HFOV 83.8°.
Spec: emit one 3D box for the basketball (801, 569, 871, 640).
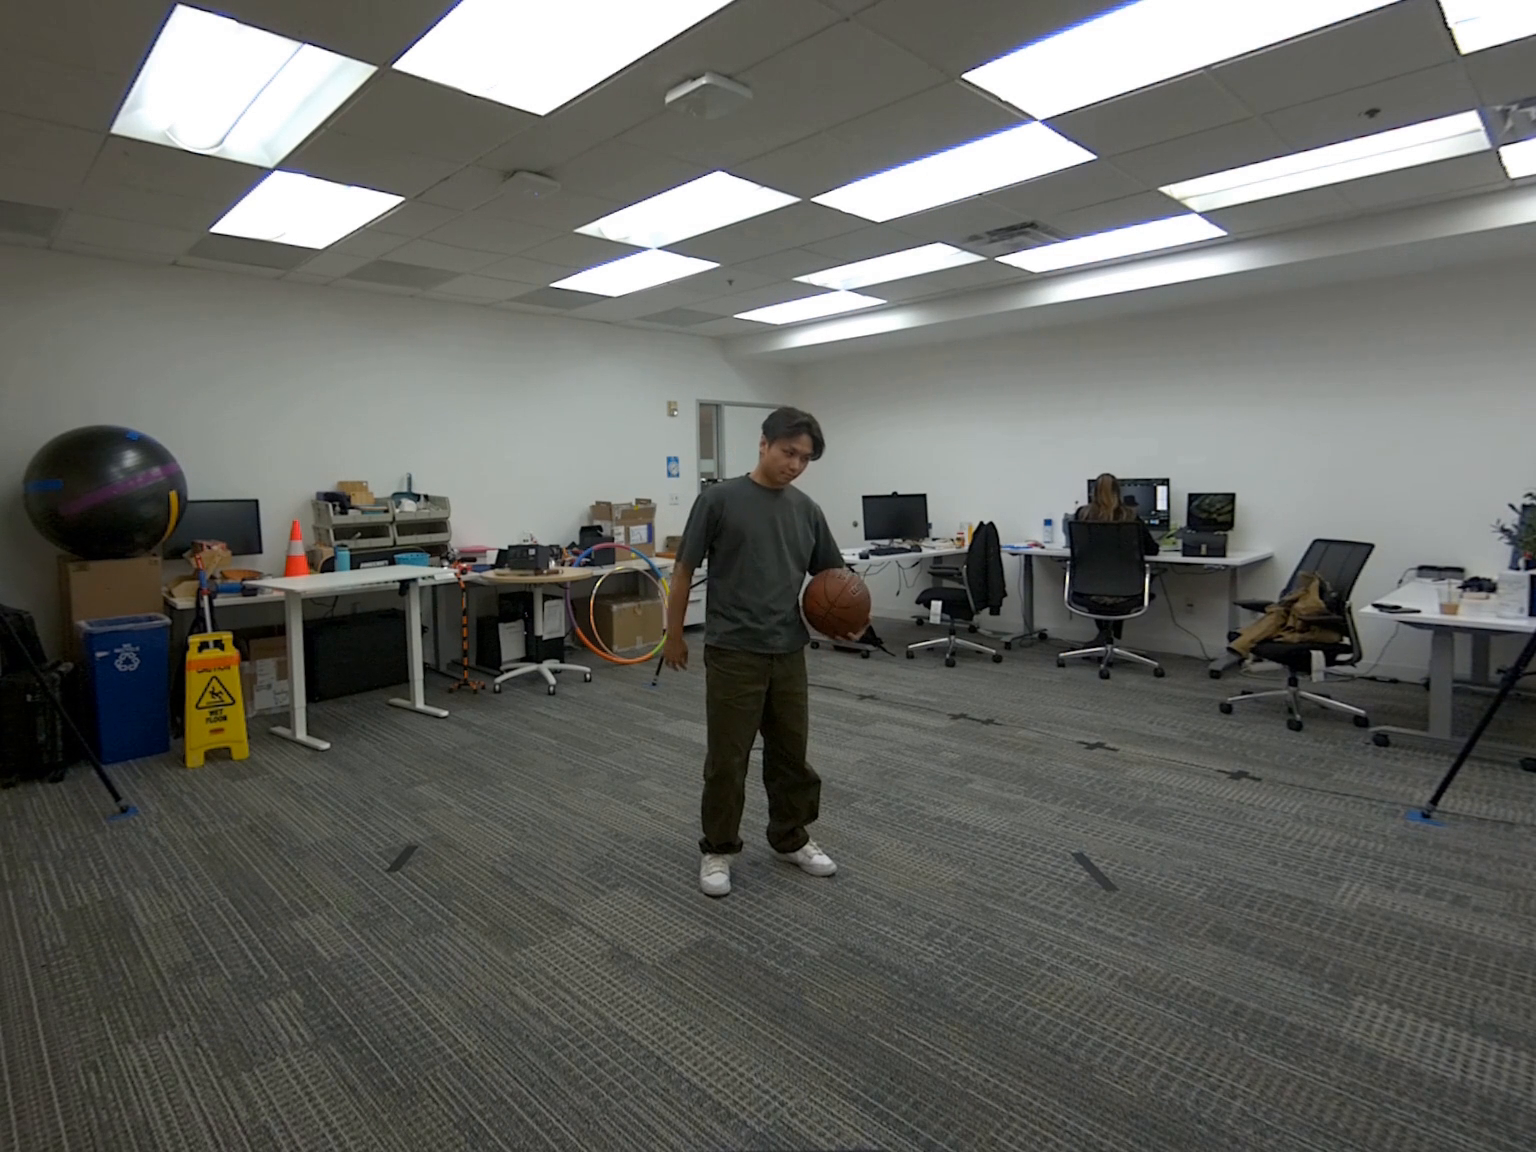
[{"bbox_3d":[0.222,0.087,2.979,0.236,0.235,0.237,-1,5,-2],"label":"basketball"}]
